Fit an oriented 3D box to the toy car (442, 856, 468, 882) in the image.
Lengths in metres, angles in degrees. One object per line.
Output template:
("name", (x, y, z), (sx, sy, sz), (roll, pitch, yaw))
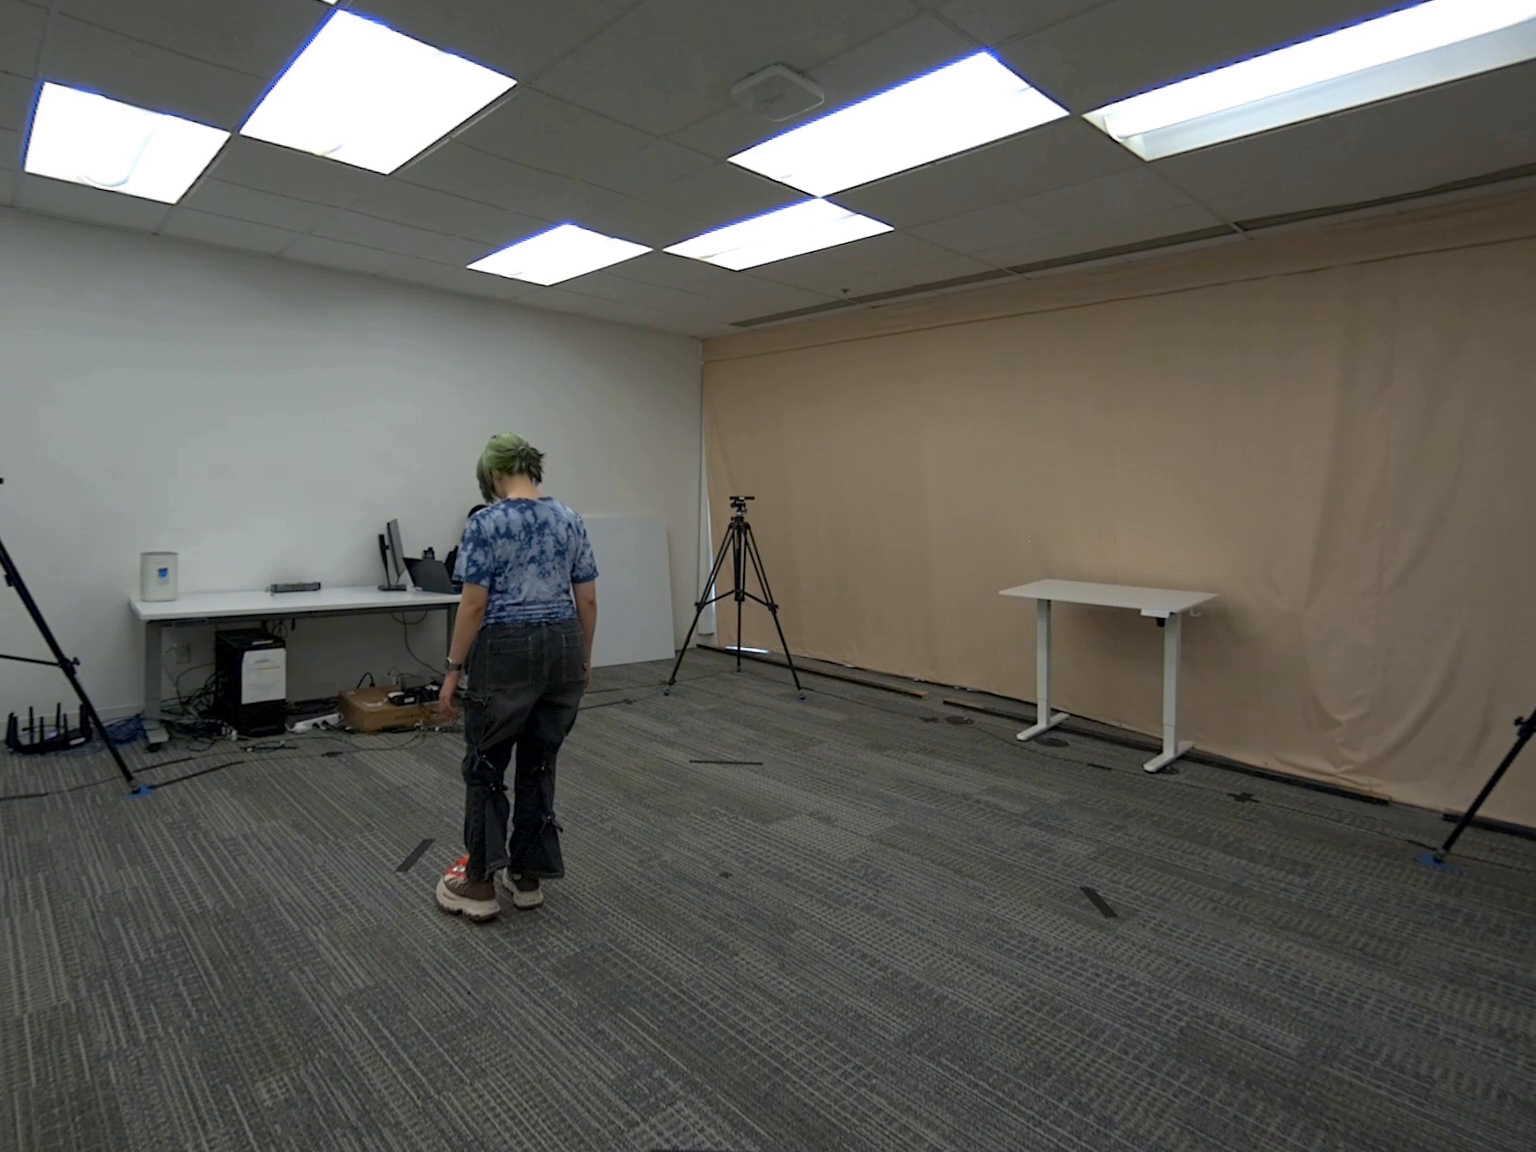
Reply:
("toy car", (-1.078, 1.055, 3.018), (0.131, 0.084, 0.251), (1, -8, 8))
